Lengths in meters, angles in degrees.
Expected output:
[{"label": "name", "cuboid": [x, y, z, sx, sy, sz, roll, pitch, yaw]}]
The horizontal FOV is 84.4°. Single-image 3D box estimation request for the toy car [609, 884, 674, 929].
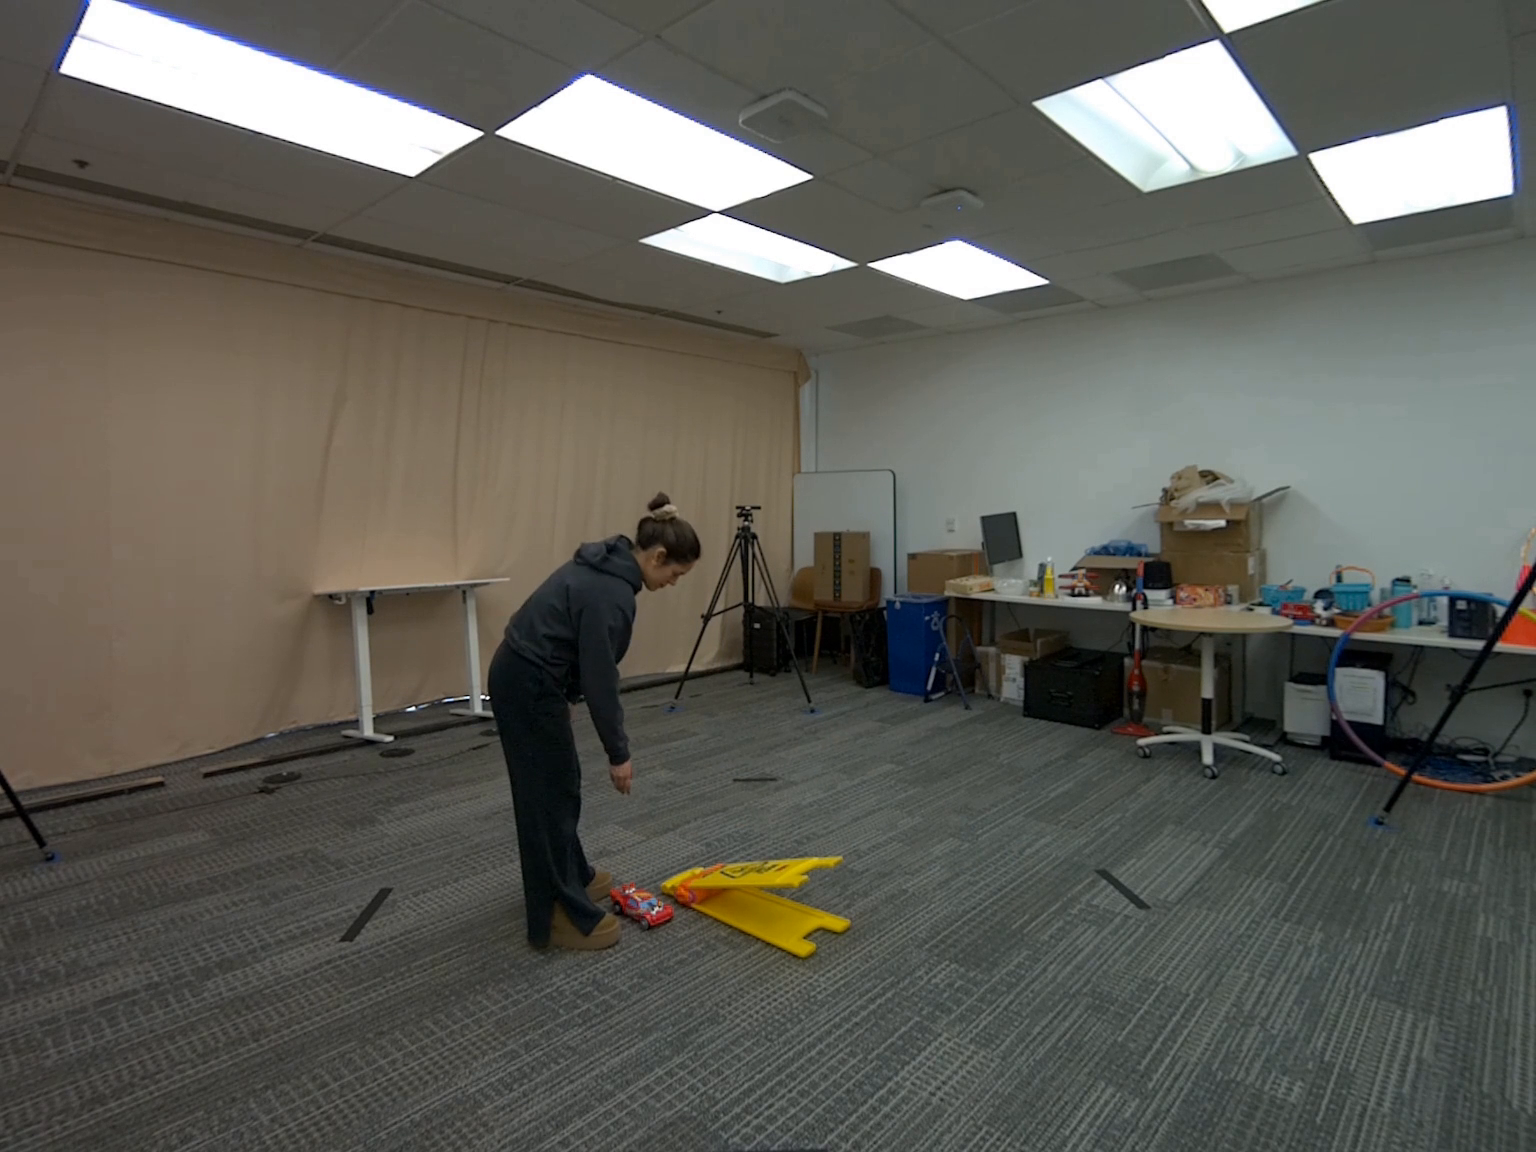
[{"label": "toy car", "cuboid": [-0.416, 1.128, 2.871, 0.126, 0.083, 0.264, -5, 16, -43]}]
